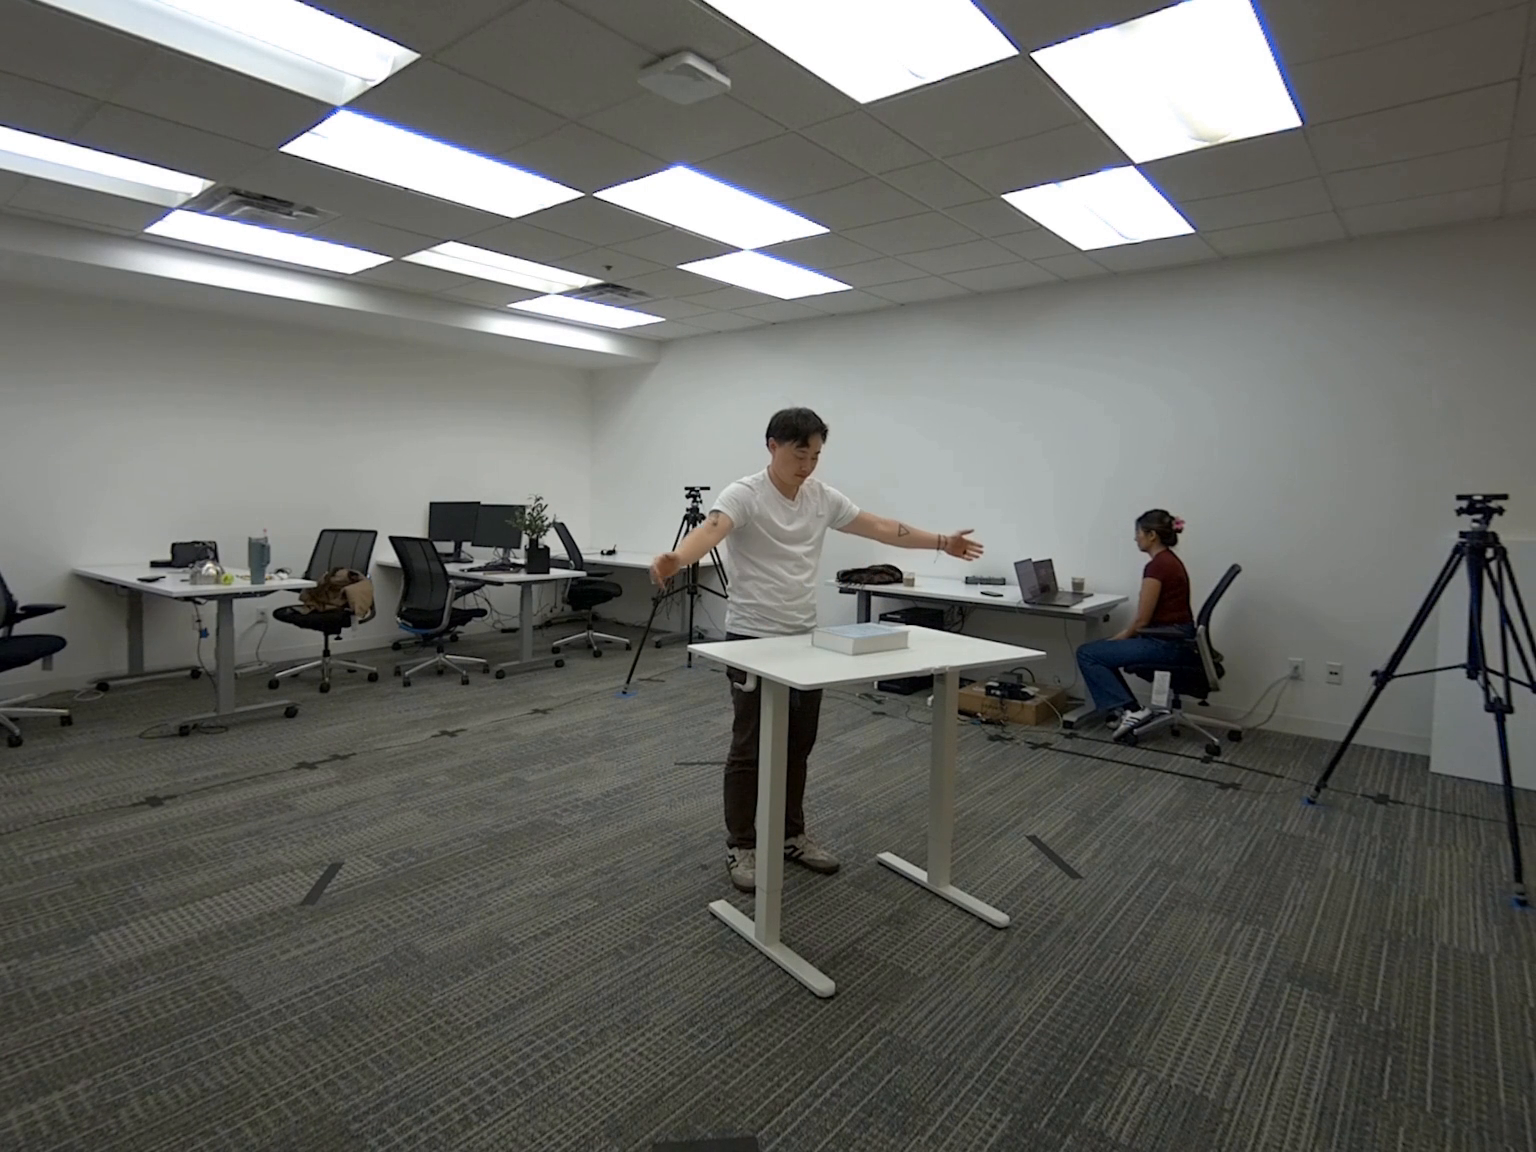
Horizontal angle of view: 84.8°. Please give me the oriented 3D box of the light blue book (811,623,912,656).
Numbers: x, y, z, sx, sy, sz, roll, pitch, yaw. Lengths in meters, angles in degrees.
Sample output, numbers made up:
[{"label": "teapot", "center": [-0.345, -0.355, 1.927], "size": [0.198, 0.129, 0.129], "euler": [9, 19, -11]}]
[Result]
[{"label": "light blue book", "center": [0.302, 0.201, 2.755], "size": [0.253, 0.059, 0.198], "euler": [-3, 7, -38]}]
